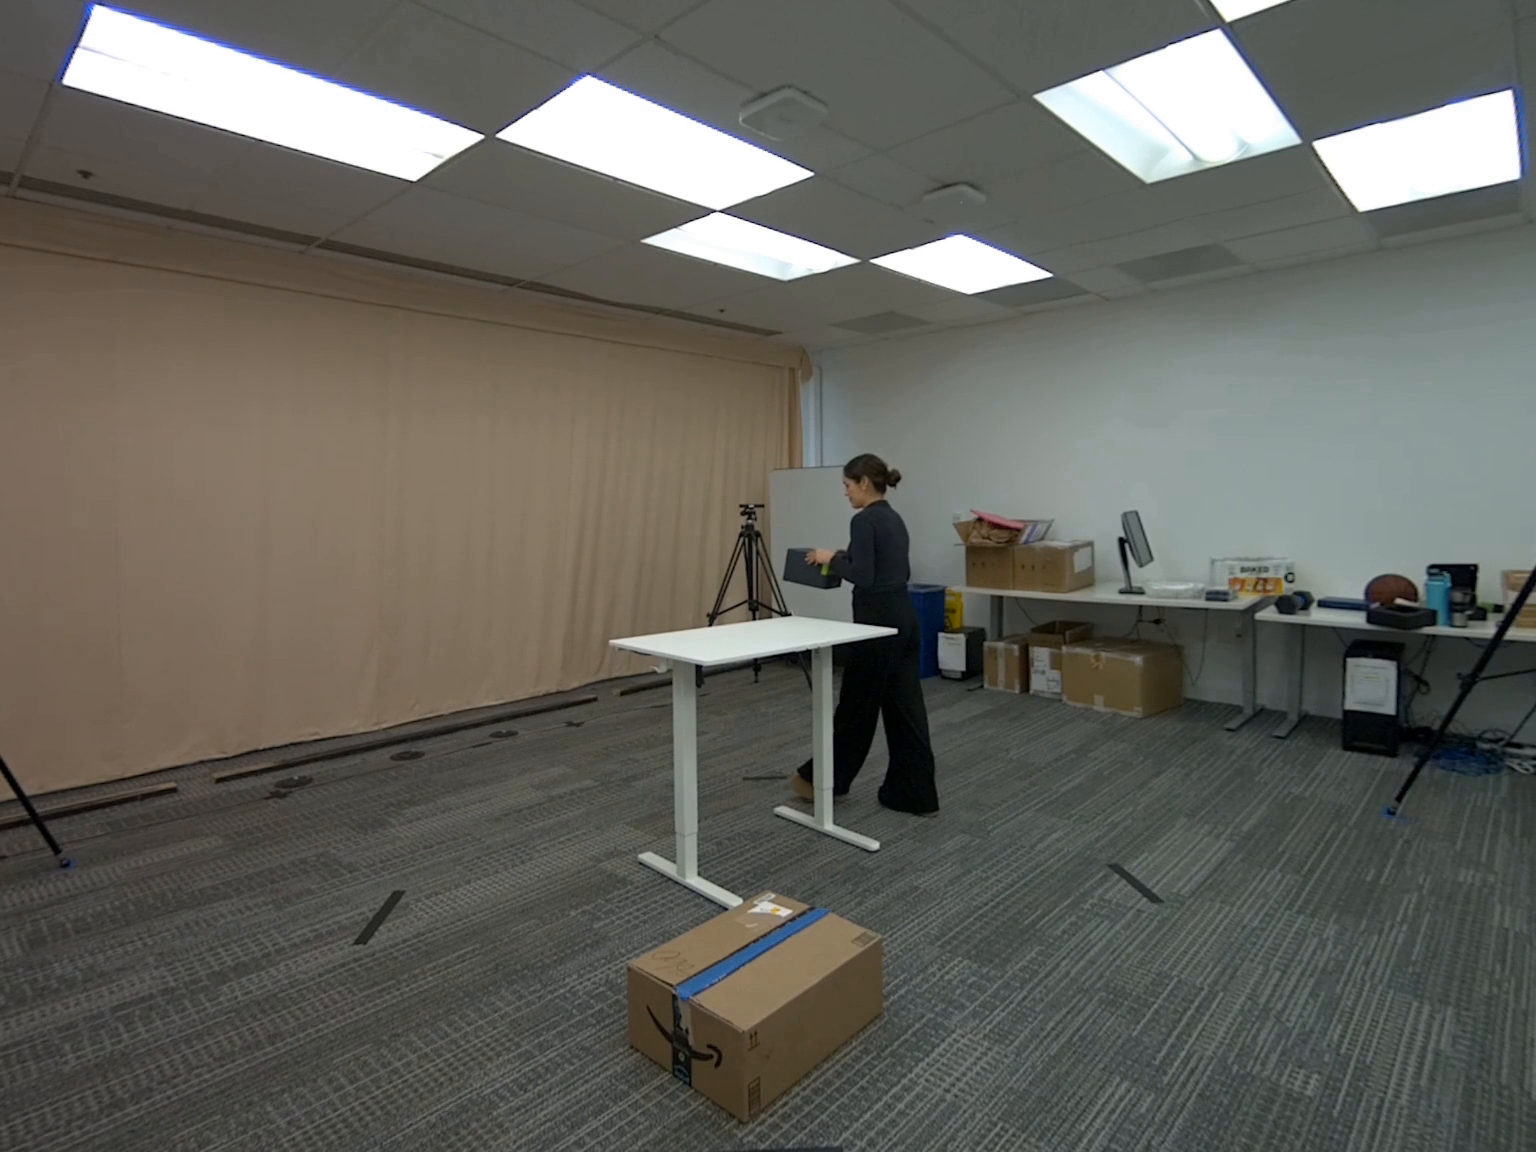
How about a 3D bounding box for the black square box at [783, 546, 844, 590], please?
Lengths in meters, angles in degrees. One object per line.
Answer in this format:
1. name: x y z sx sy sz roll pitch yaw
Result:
1. black square box: 0.227 -0.043 4.005 0.223 0.155 0.222 12 6 25
